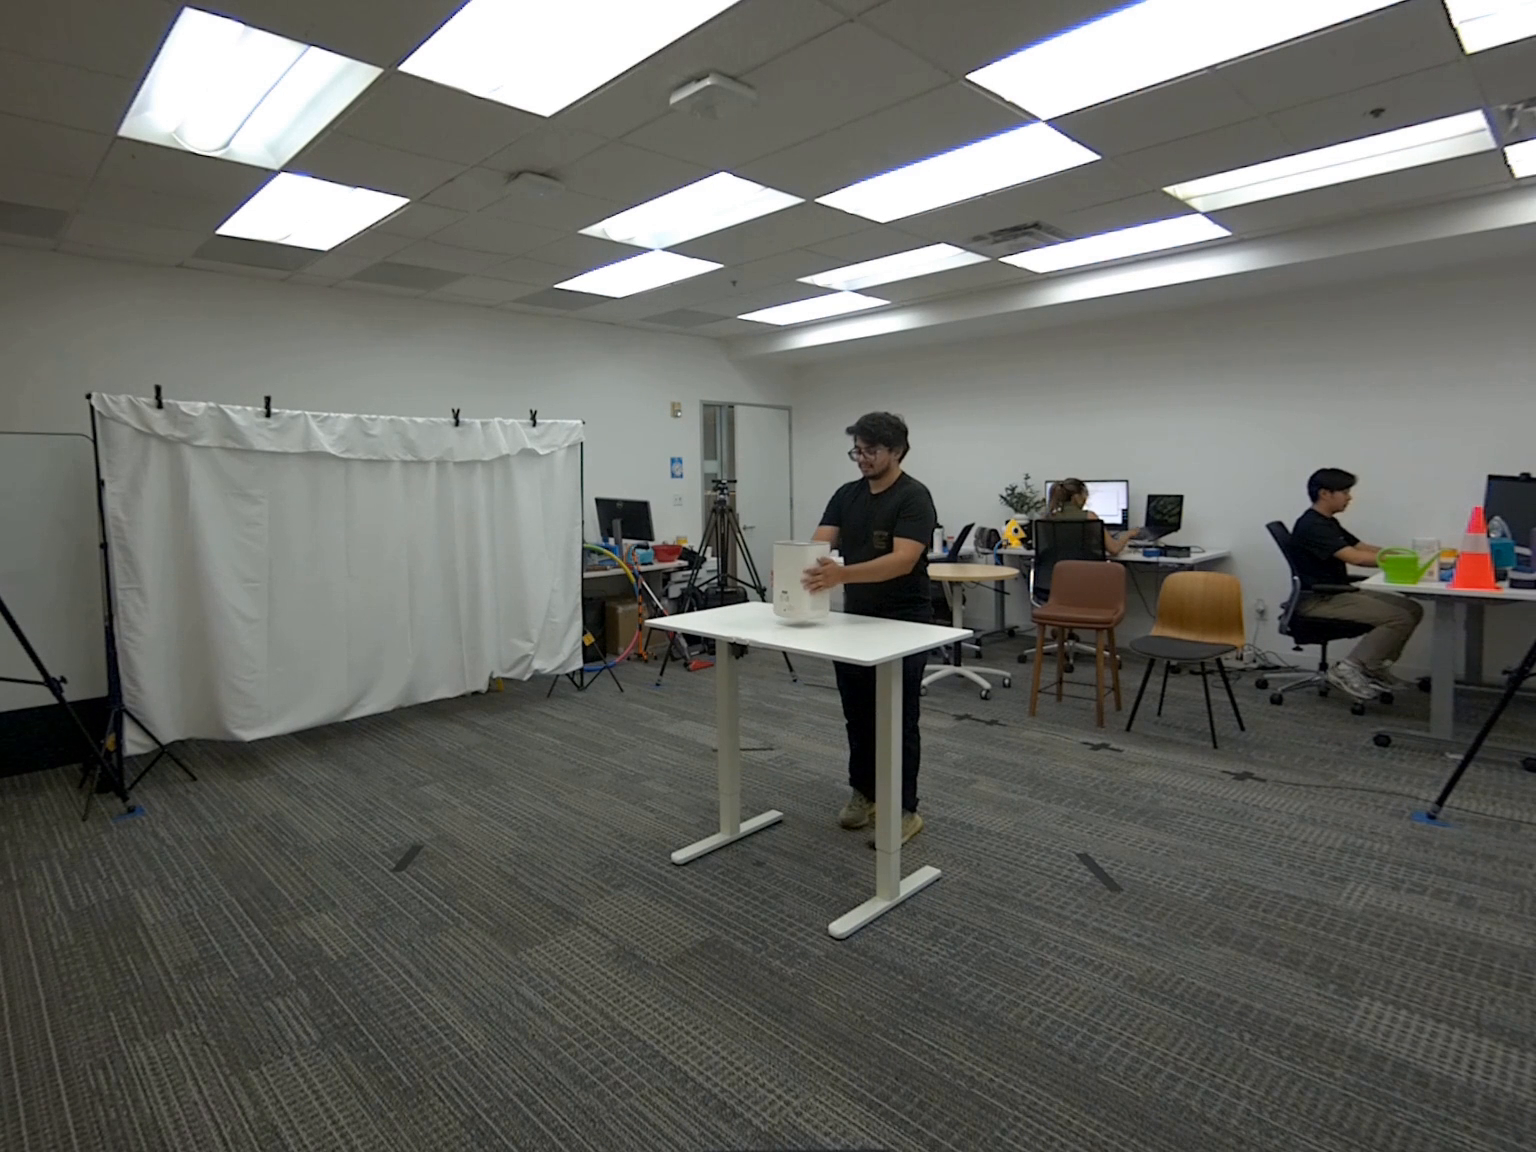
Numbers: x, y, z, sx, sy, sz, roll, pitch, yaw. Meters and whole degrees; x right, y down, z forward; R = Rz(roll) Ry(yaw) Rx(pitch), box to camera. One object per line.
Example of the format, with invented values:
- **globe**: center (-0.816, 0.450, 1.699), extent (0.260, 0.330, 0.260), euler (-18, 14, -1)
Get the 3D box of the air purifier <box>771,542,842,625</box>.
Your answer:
- **air purifier**: center (0.135, 0.020, 3.009), extent (0.167, 0.264, 0.176), euler (-2, 5, -45)
